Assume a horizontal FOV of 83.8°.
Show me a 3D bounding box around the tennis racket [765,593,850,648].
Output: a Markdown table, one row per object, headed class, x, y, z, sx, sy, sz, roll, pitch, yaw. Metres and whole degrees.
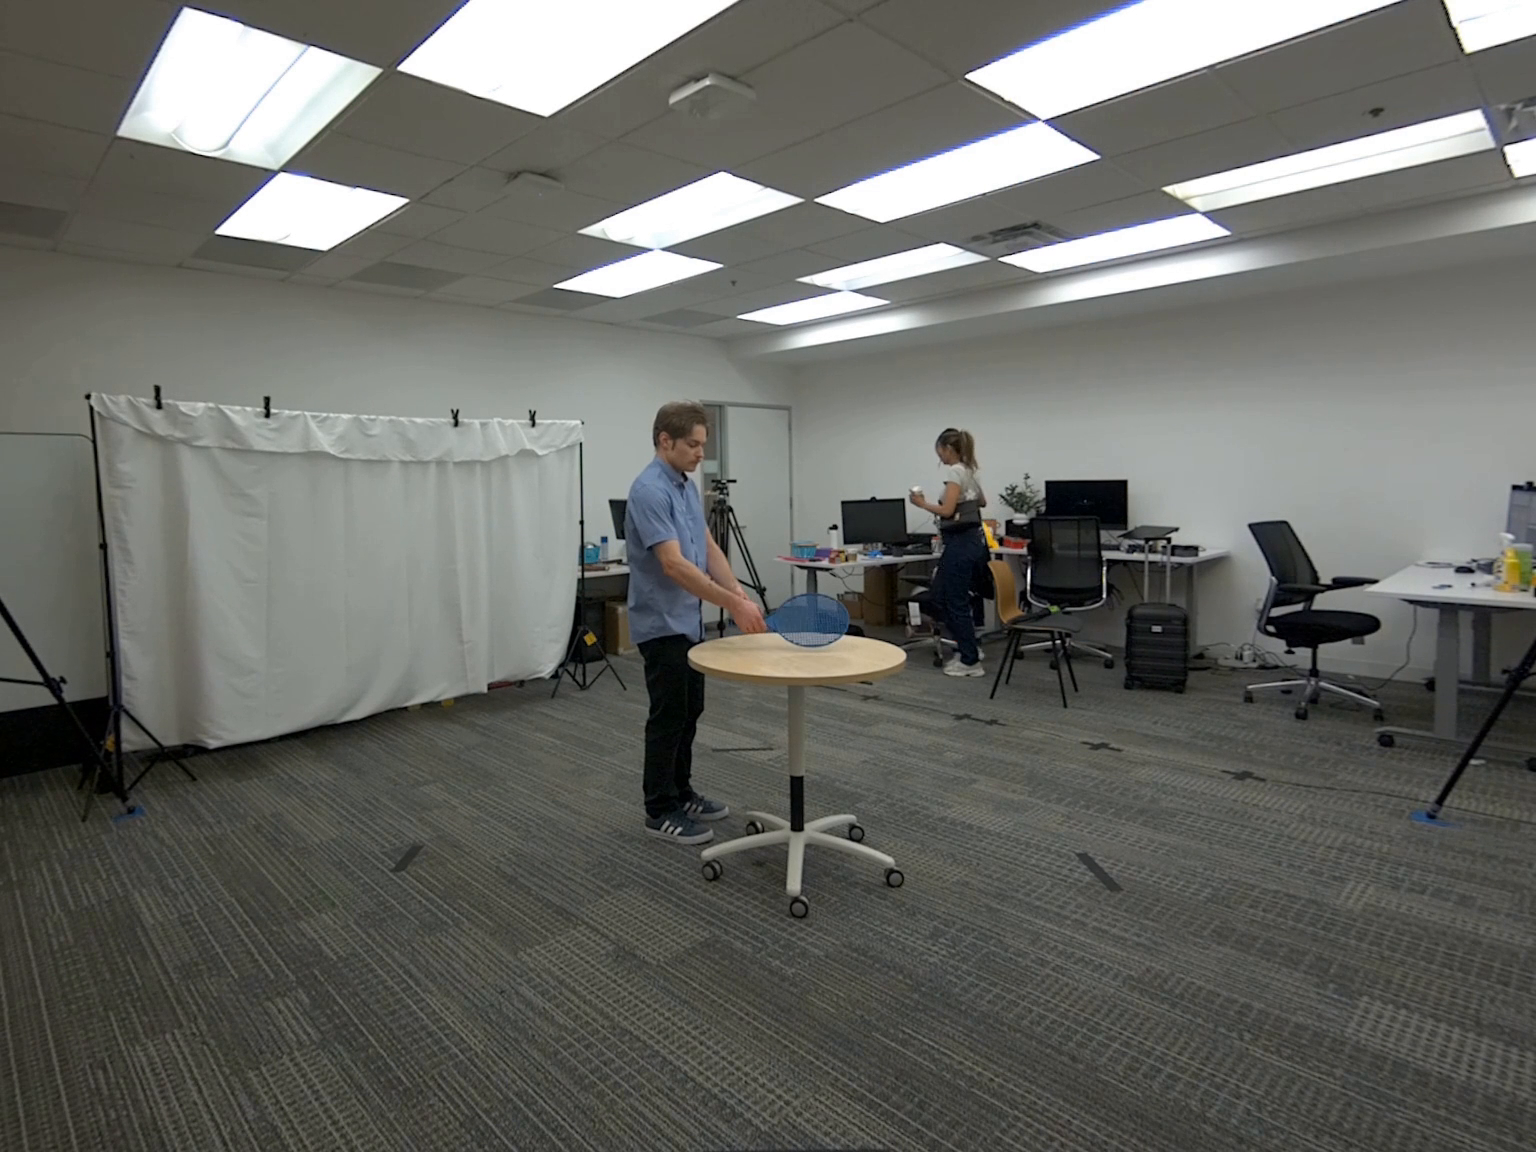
| class | x | y | z | sx | sy | sz | roll | pitch | yaw |
| --- | --- | --- | --- | --- | --- | --- | --- | --- | --- |
| tennis racket | 0.077 | 0.166 | 3.074 | 0.433 | 0.219 | 0.031 | -3 | -31 | 1 |
